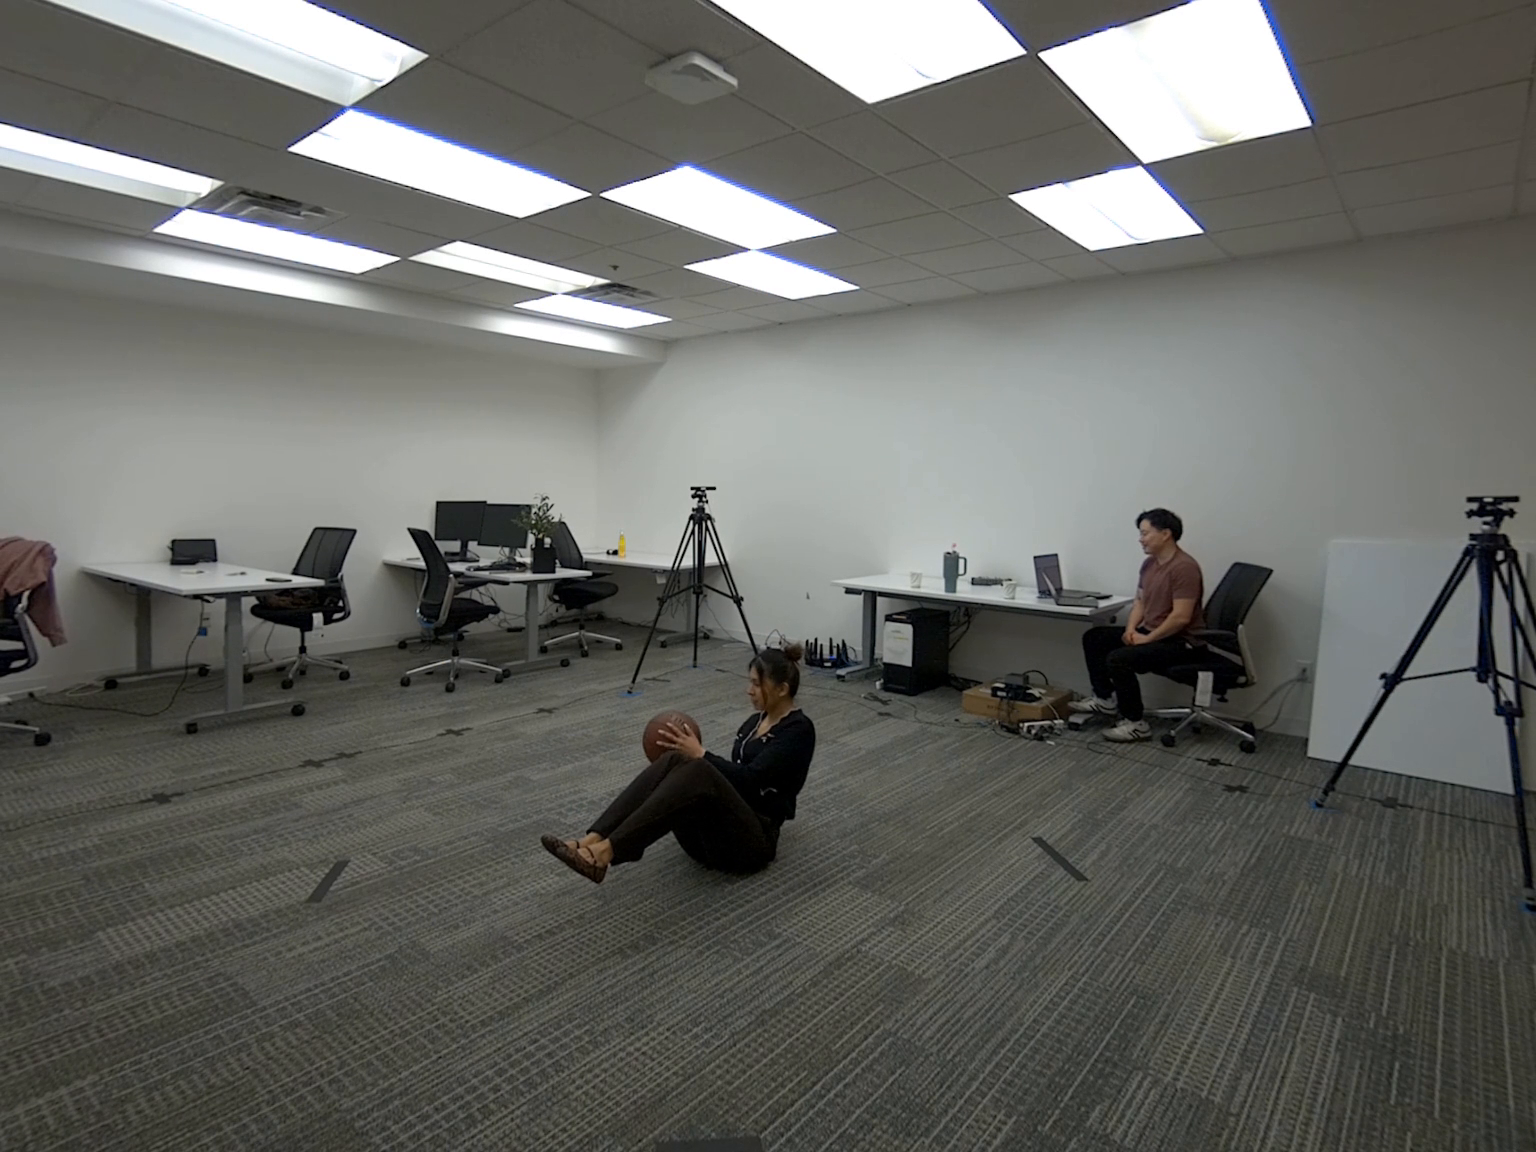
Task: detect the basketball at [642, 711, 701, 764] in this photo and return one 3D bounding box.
[{"bbox_3d":[-0.375,0.655,3.392,0.235,0.235,0.237,1,4,-2],"label":"basketball"}]
